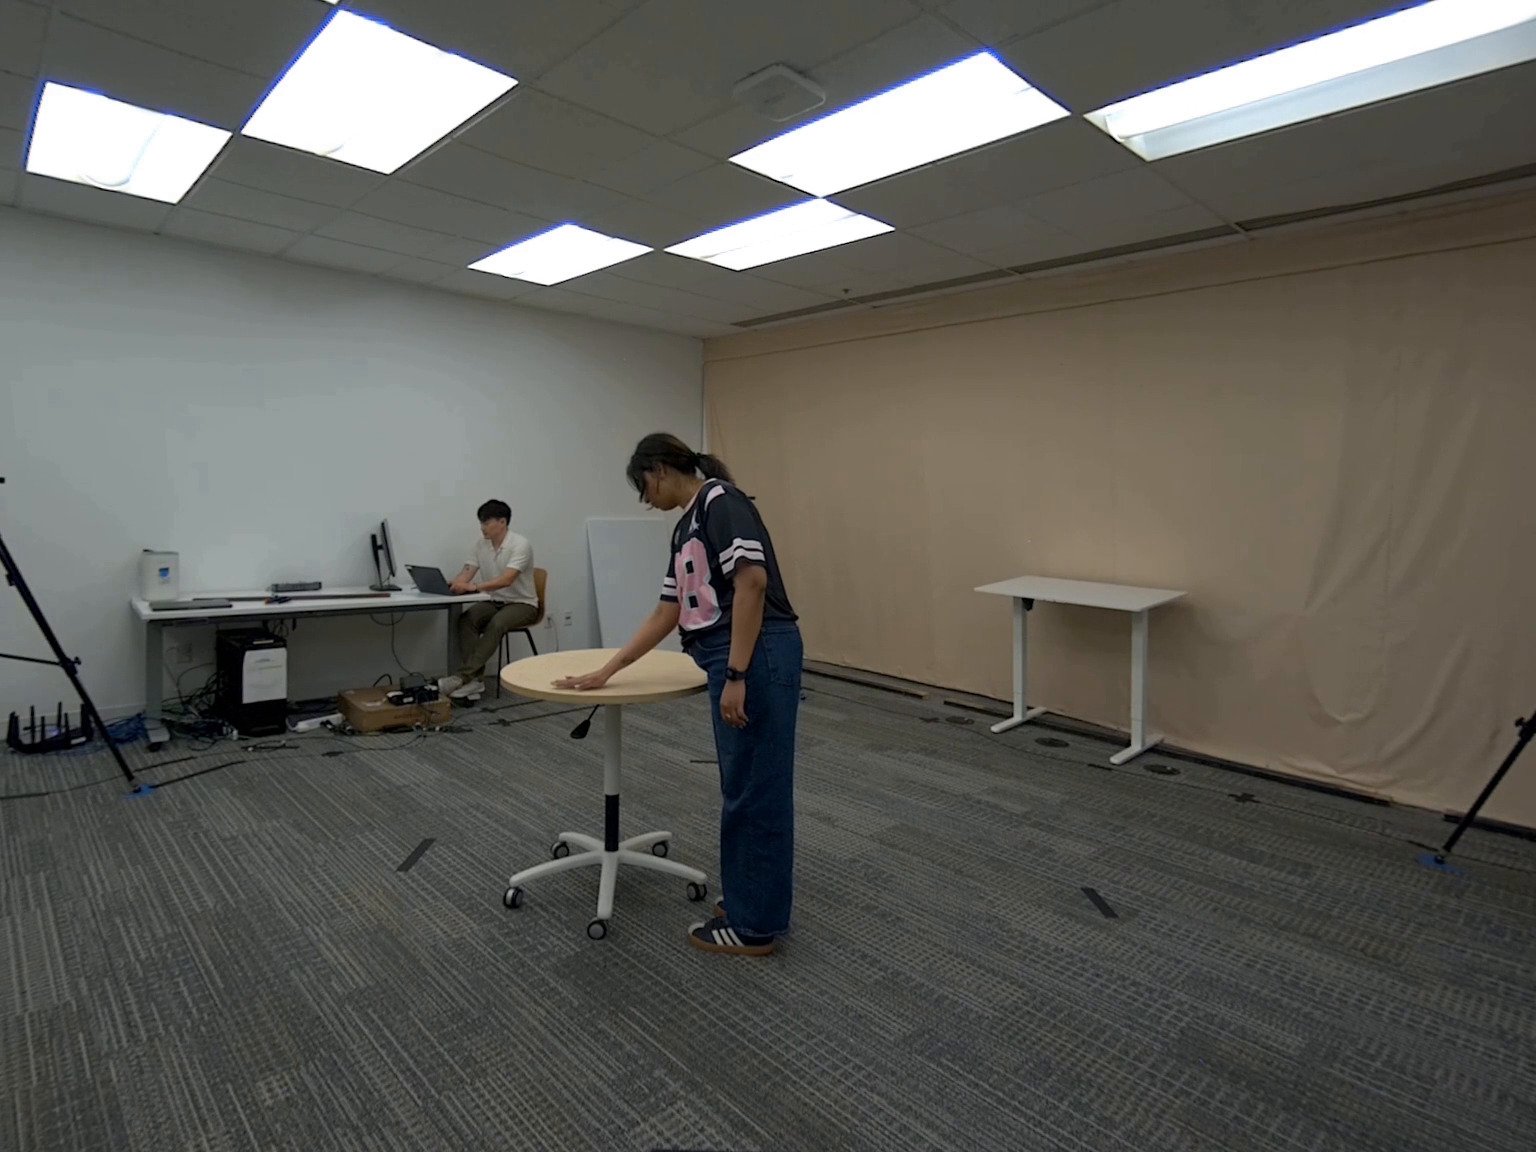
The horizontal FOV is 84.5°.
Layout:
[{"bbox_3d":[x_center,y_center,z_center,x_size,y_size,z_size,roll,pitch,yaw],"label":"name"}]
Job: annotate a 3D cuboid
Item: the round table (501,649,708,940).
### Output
[{"bbox_3d":[-0.560,0.717,2.946,0.784,0.784,0.788,1,4,-1],"label":"round table"}]
